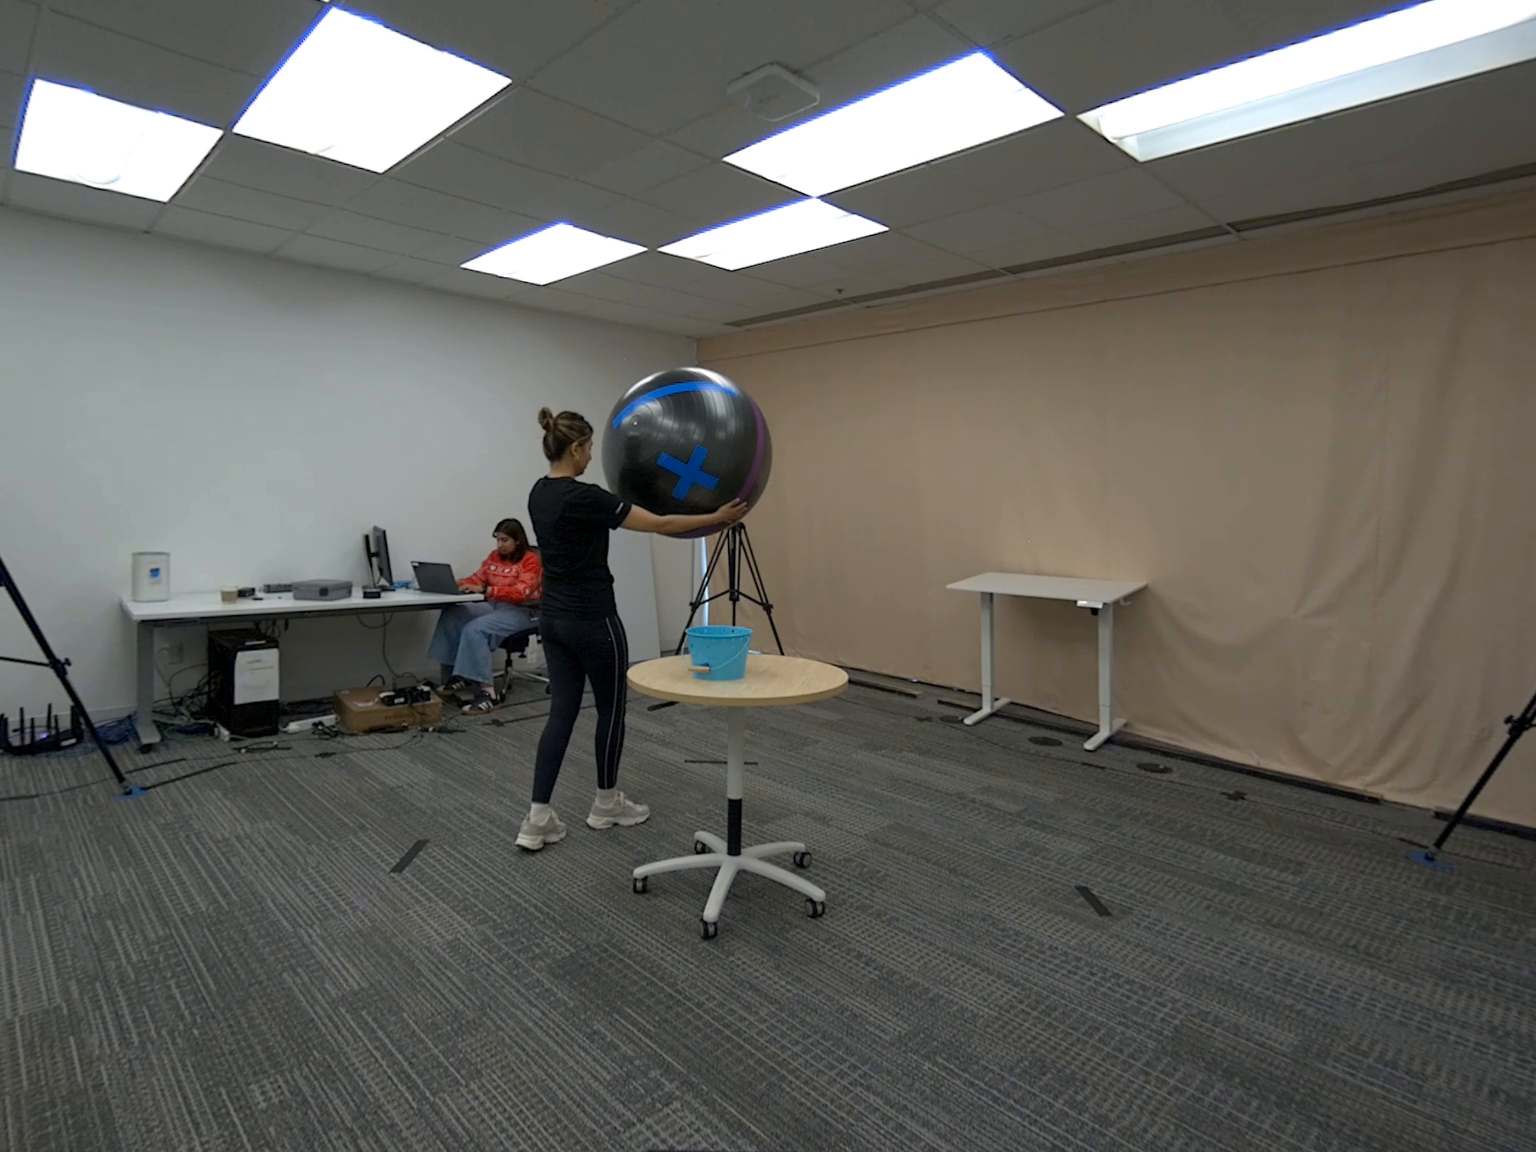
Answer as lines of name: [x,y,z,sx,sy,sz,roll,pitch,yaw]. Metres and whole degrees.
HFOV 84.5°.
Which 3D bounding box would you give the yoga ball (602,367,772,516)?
yoga ball: [-0.360,-0.540,3.741,0.757,0.756,0.761,1,4,-1]
